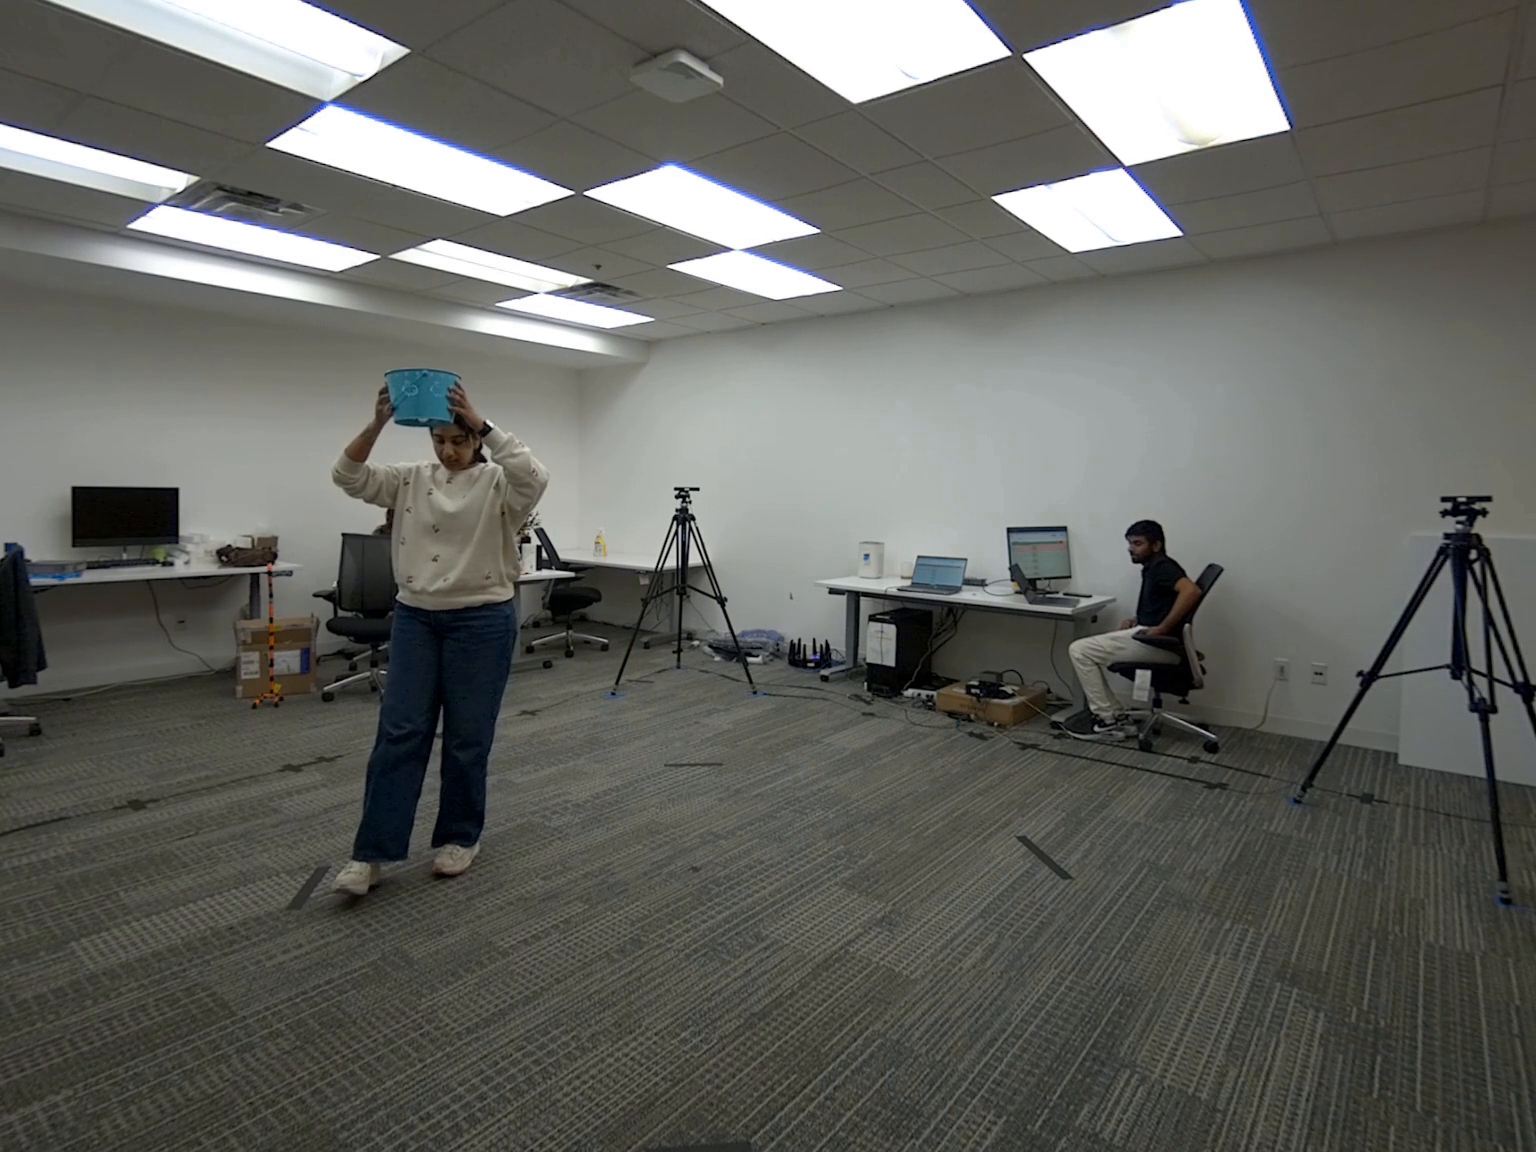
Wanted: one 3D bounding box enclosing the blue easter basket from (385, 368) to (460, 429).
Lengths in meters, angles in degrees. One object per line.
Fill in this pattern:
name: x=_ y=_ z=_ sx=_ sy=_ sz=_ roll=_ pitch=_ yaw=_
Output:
blue easter basket: x=-1.136 y=-0.572 z=2.729 sx=0.243 sy=0.156 sz=0.243 roll=1 pitch=-1 yaw=-2
